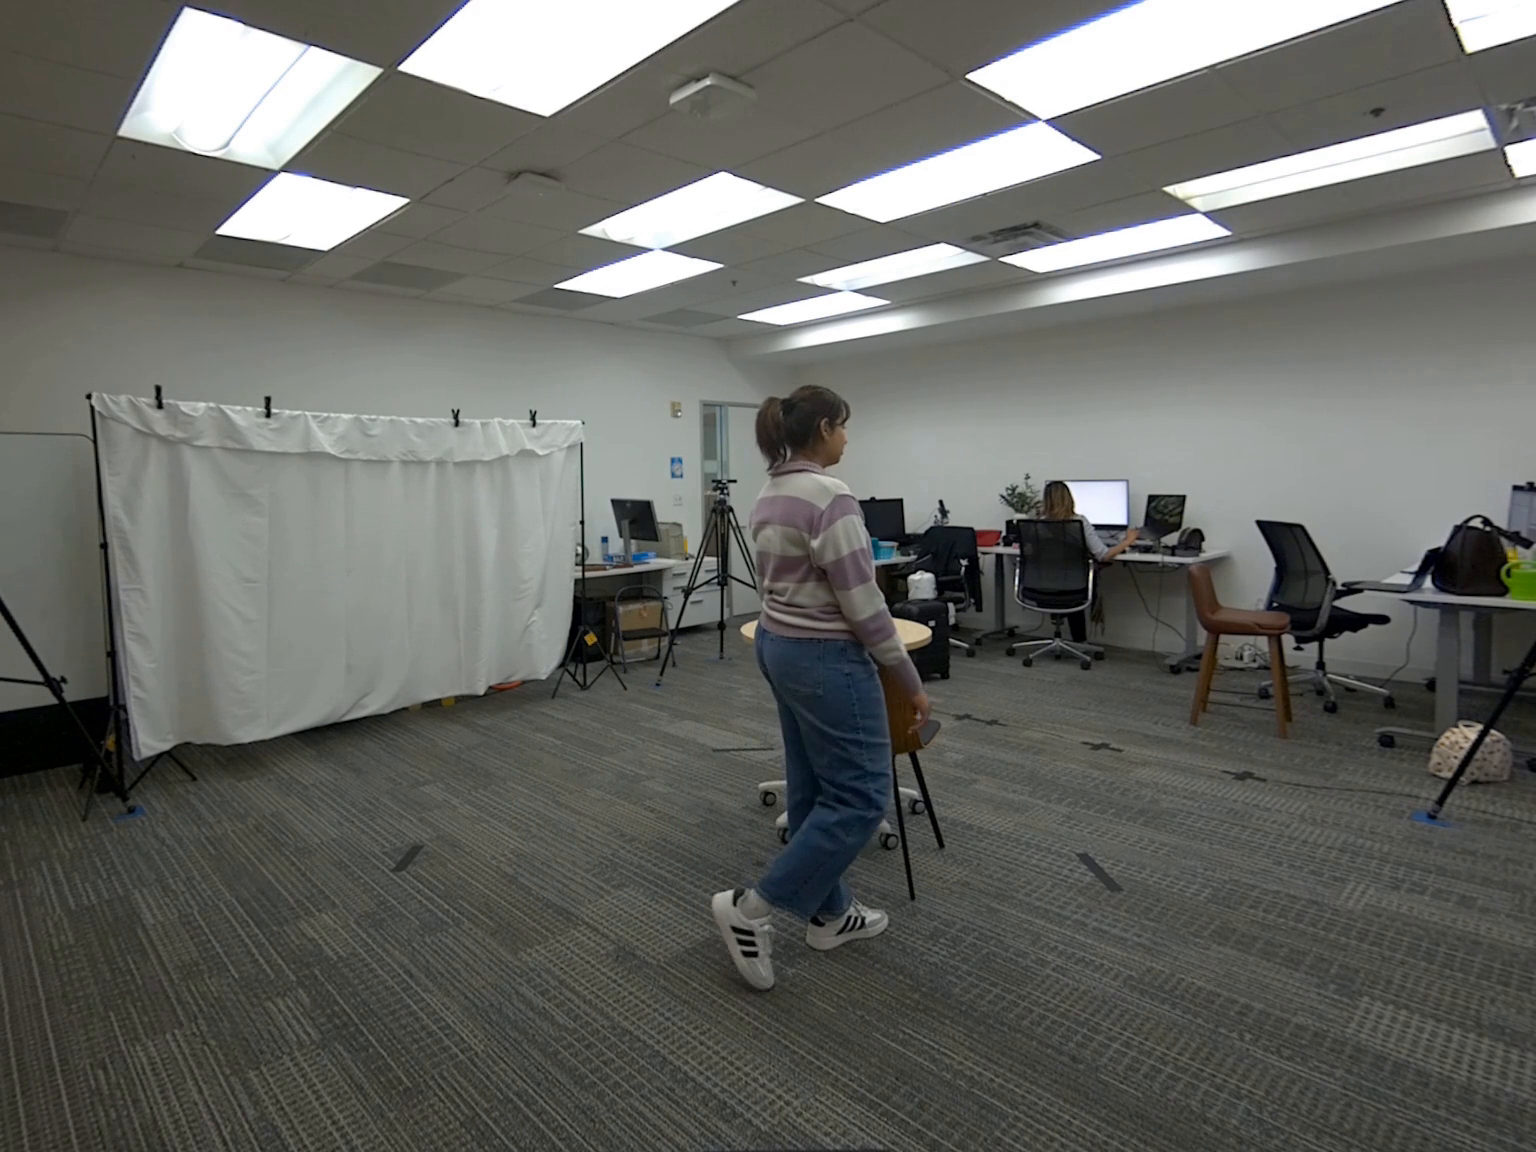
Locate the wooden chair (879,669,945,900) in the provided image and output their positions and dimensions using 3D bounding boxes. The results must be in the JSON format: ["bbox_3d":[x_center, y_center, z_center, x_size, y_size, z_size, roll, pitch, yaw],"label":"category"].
[{"bbox_3d":[0.365,0.617,3.093,0.489,0.871,0.514,1,9,26],"label":"wooden chair"}]
